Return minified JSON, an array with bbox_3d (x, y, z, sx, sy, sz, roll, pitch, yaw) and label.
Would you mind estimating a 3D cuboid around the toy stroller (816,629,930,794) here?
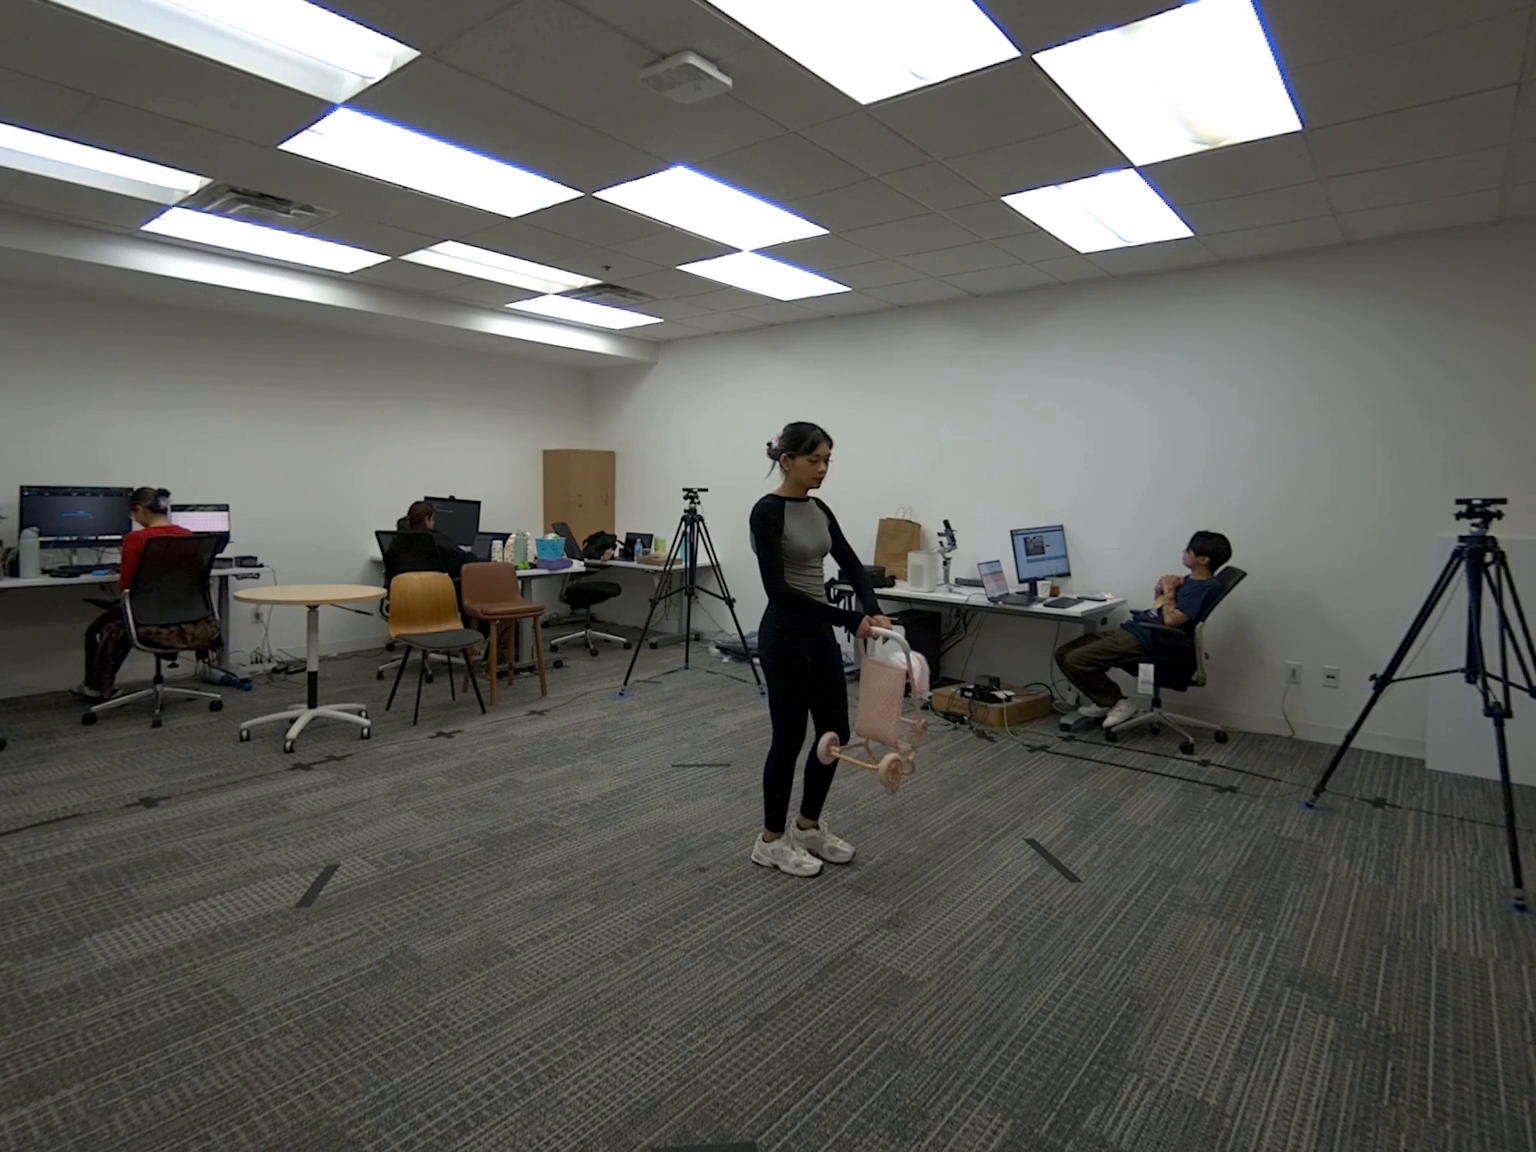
[{"bbox_3d":[0.400,0.475,2.876,0.328,0.537,0.291,19,-7,-43],"label":"toy stroller"}]
